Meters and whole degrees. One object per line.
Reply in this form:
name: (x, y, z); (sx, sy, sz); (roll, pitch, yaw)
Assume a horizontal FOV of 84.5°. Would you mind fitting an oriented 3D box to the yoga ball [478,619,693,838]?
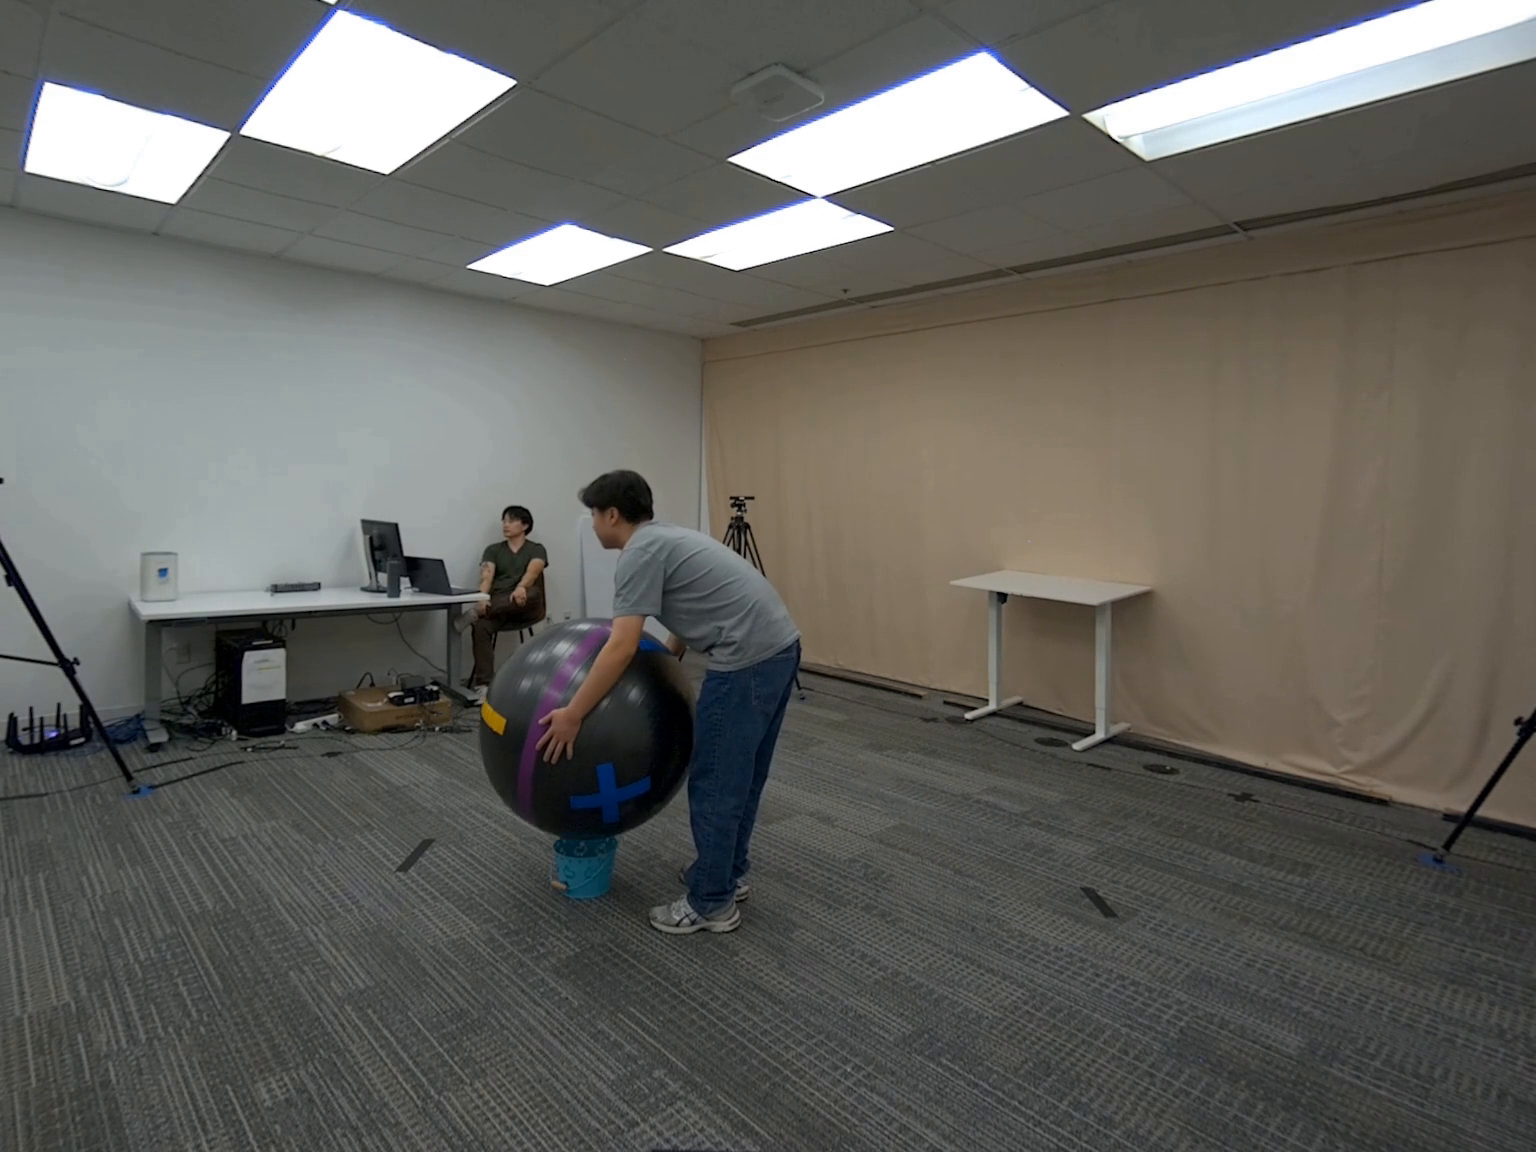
yoga ball: (-0.629, 0.523, 2.959); (0.757, 0.756, 0.761); (1, 4, -1)
